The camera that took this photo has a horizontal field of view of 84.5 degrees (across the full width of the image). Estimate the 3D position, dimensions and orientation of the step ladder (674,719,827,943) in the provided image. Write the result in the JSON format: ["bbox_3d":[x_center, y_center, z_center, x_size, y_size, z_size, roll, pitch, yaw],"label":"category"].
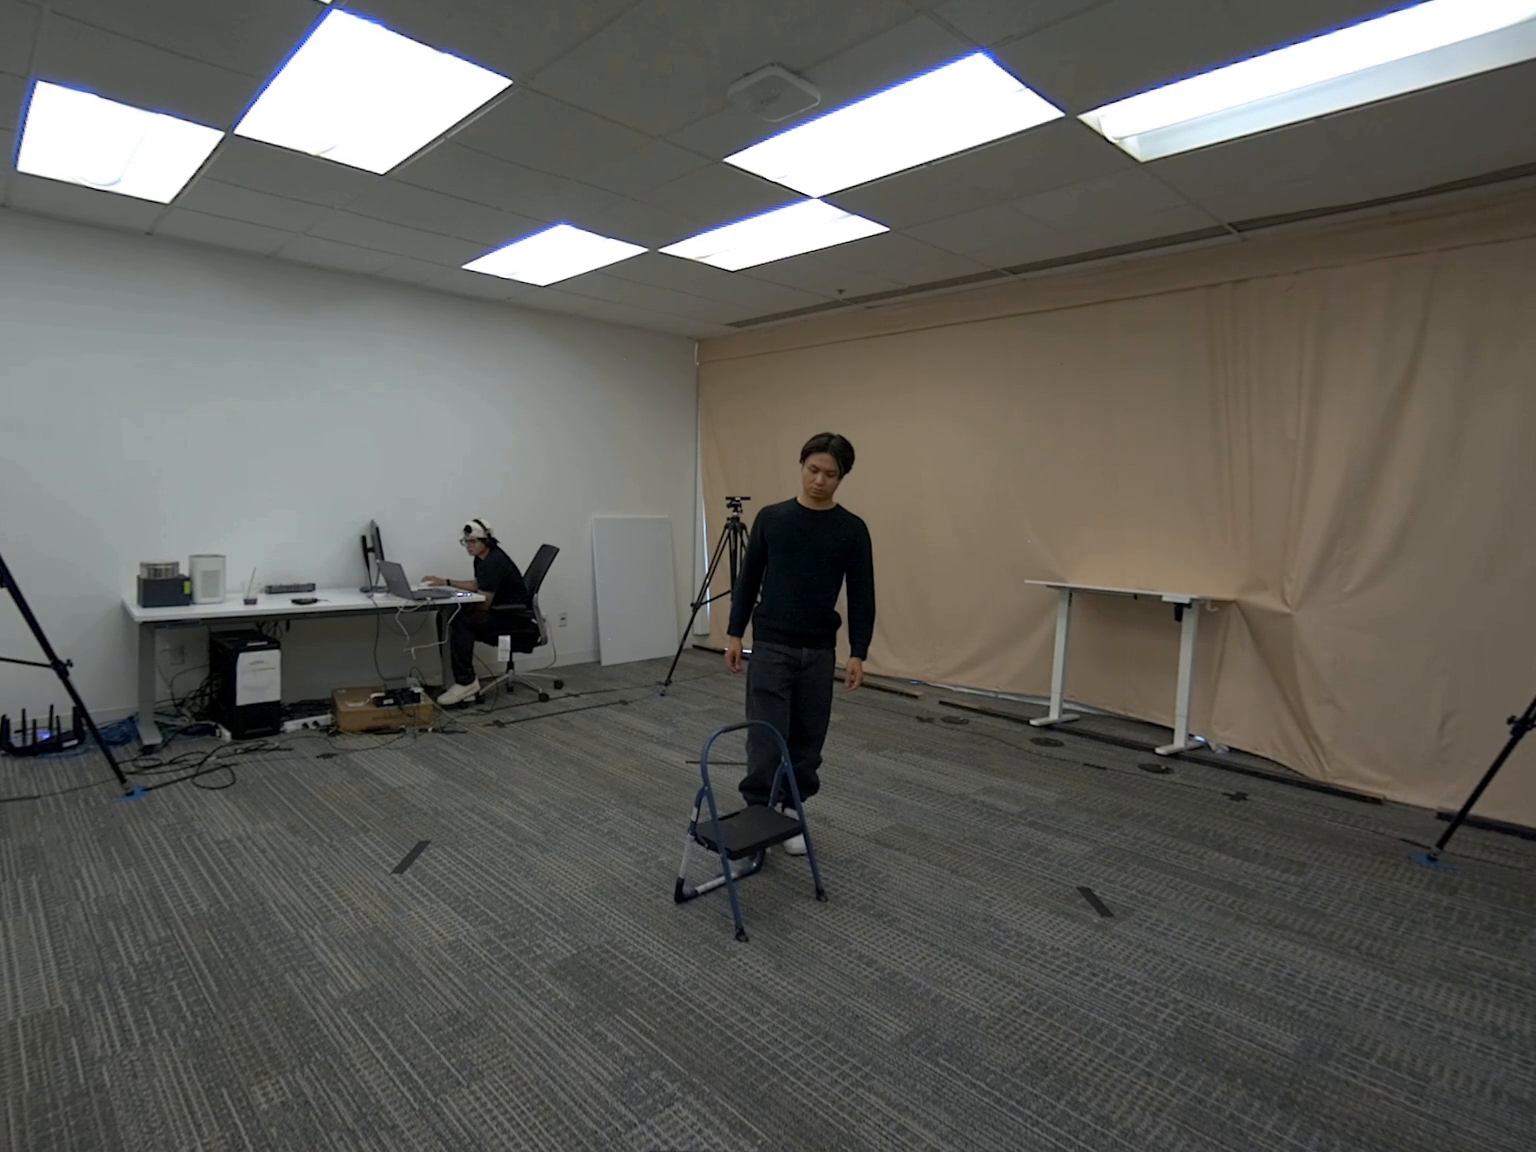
[{"bbox_3d":[-0.058,0.824,2.890,0.358,0.605,0.420,5,4,44],"label":"step ladder"}]
